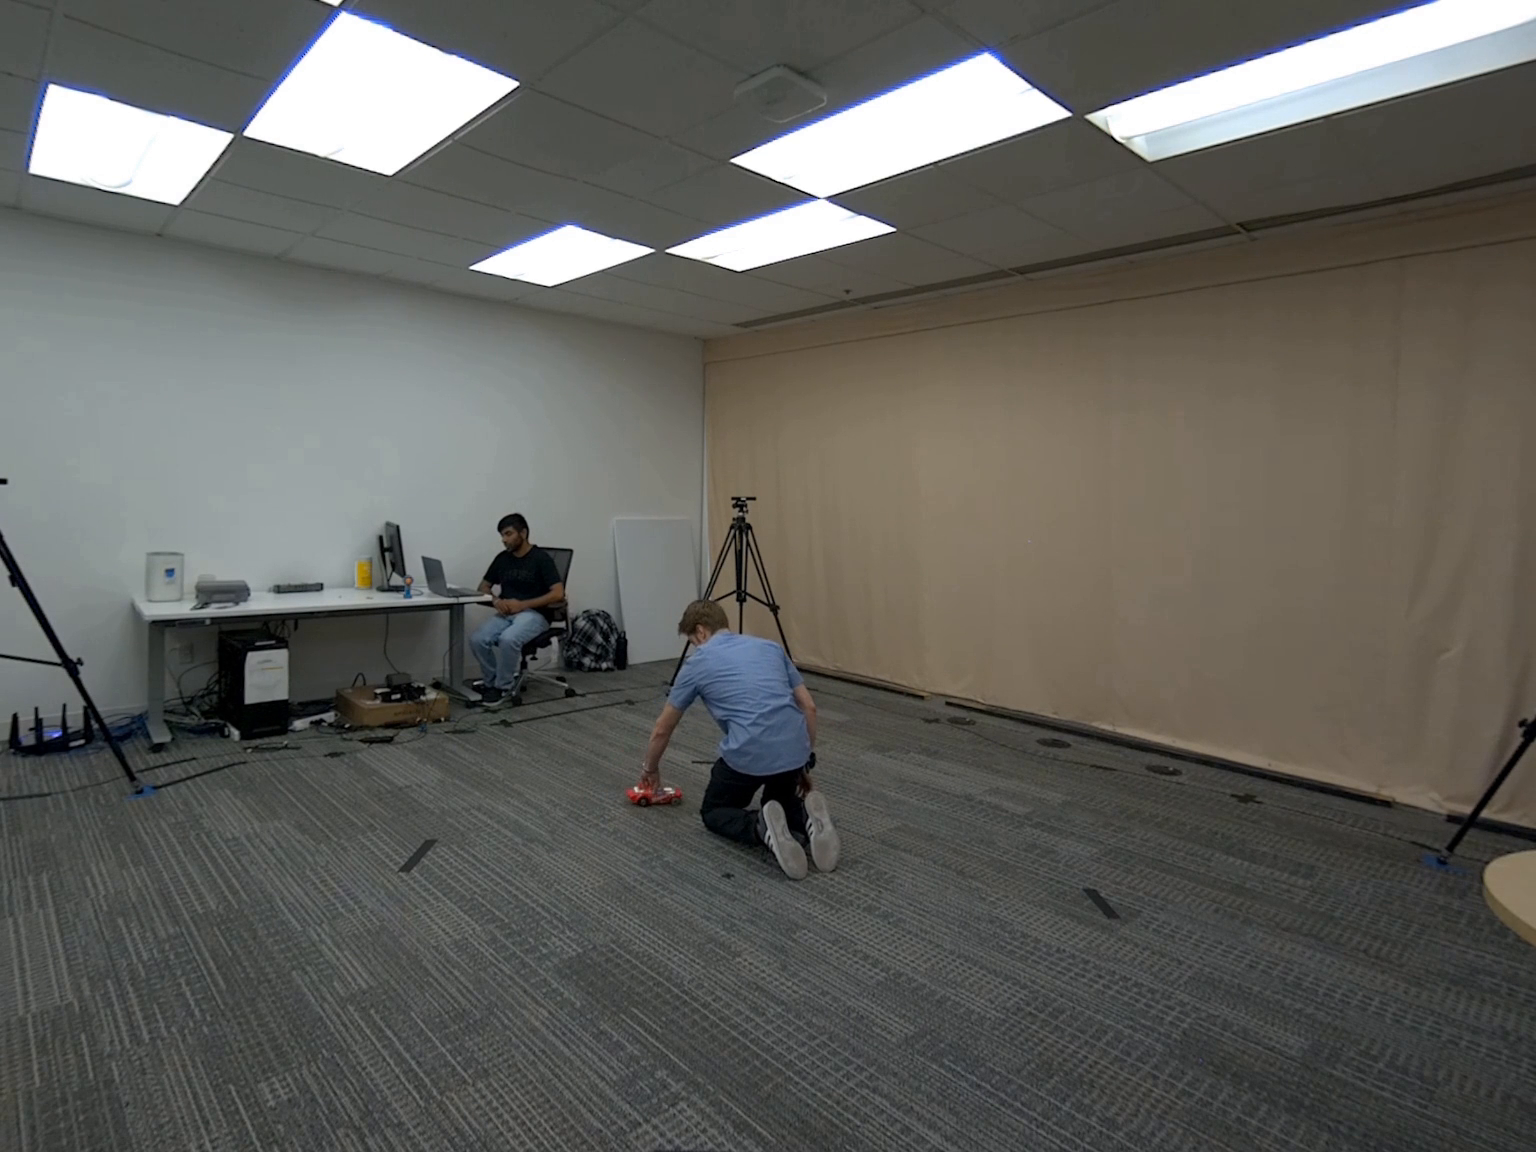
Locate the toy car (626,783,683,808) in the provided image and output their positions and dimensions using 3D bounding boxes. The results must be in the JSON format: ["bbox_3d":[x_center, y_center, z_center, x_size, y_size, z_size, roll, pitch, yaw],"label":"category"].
[{"bbox_3d":[-0.531,0.997,3.842,0.251,0.083,0.132,12,1,-14],"label":"toy car"}]
